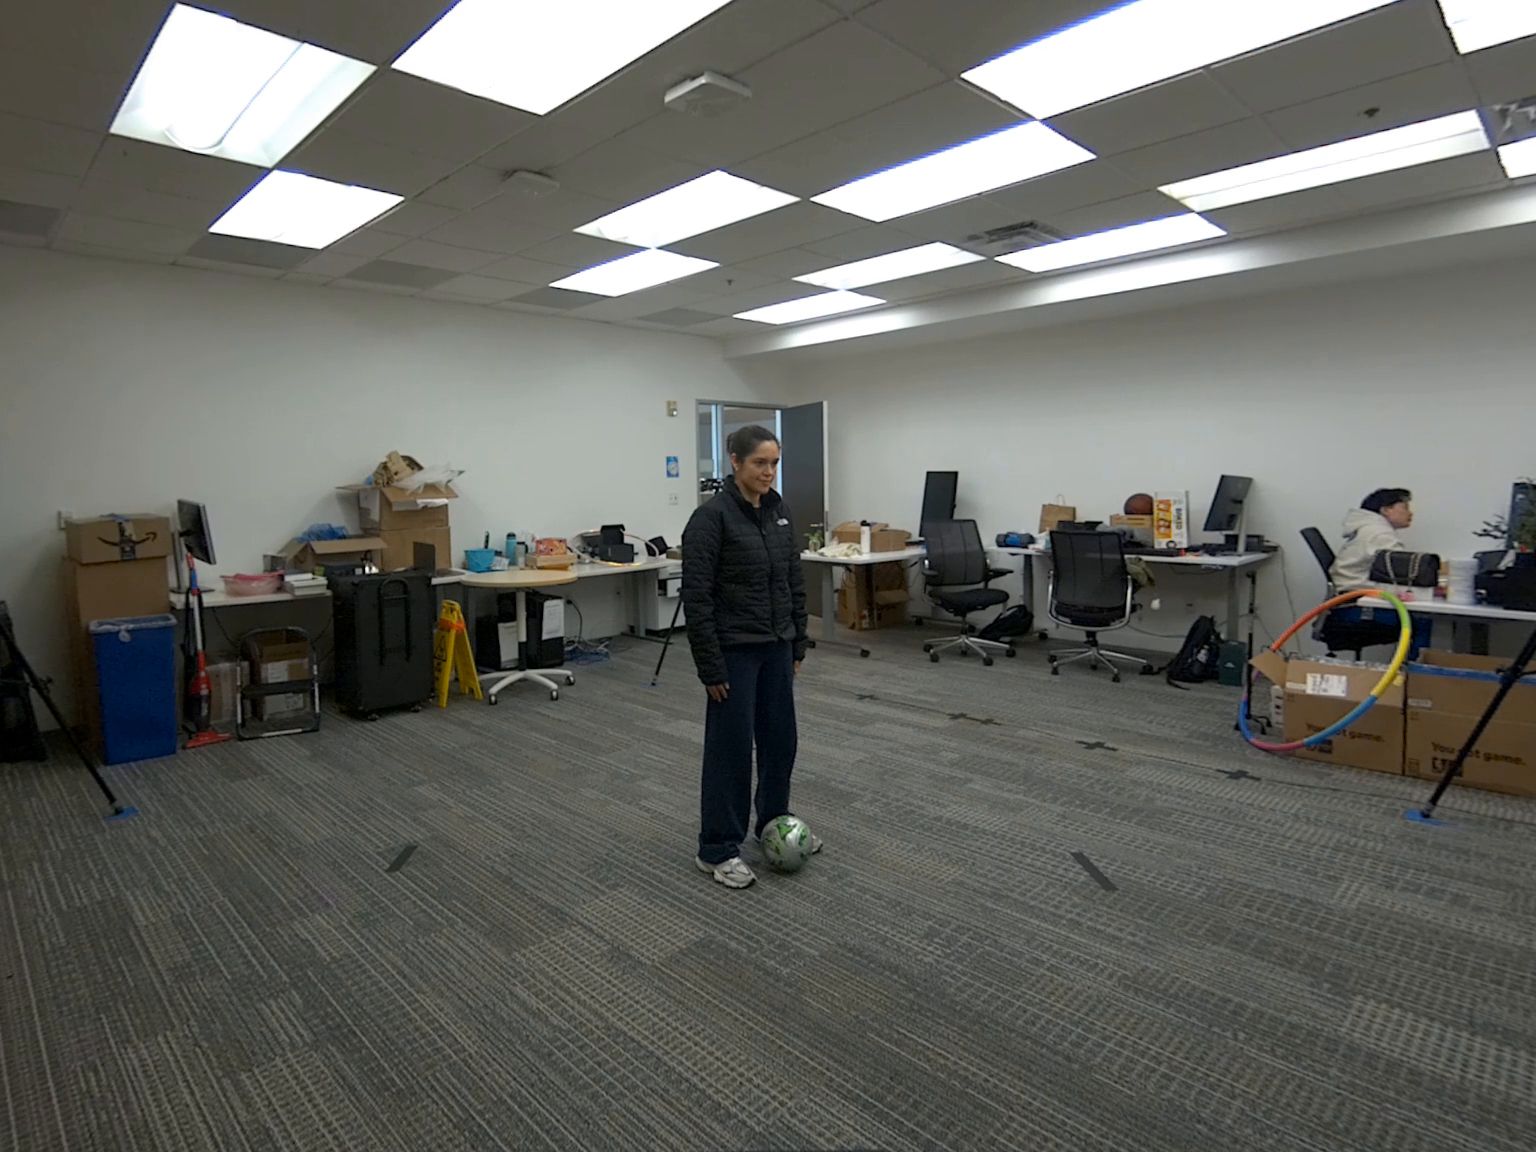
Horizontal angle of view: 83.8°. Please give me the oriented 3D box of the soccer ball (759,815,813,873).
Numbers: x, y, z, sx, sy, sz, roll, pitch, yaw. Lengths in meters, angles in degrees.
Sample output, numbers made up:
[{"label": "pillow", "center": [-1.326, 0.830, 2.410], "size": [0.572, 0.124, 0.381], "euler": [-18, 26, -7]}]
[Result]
[{"label": "soccer ball", "center": [0.059, 0.951, 3.055], "size": [0.187, 0.187, 0.188], "euler": [-1, 5, -2]}]
